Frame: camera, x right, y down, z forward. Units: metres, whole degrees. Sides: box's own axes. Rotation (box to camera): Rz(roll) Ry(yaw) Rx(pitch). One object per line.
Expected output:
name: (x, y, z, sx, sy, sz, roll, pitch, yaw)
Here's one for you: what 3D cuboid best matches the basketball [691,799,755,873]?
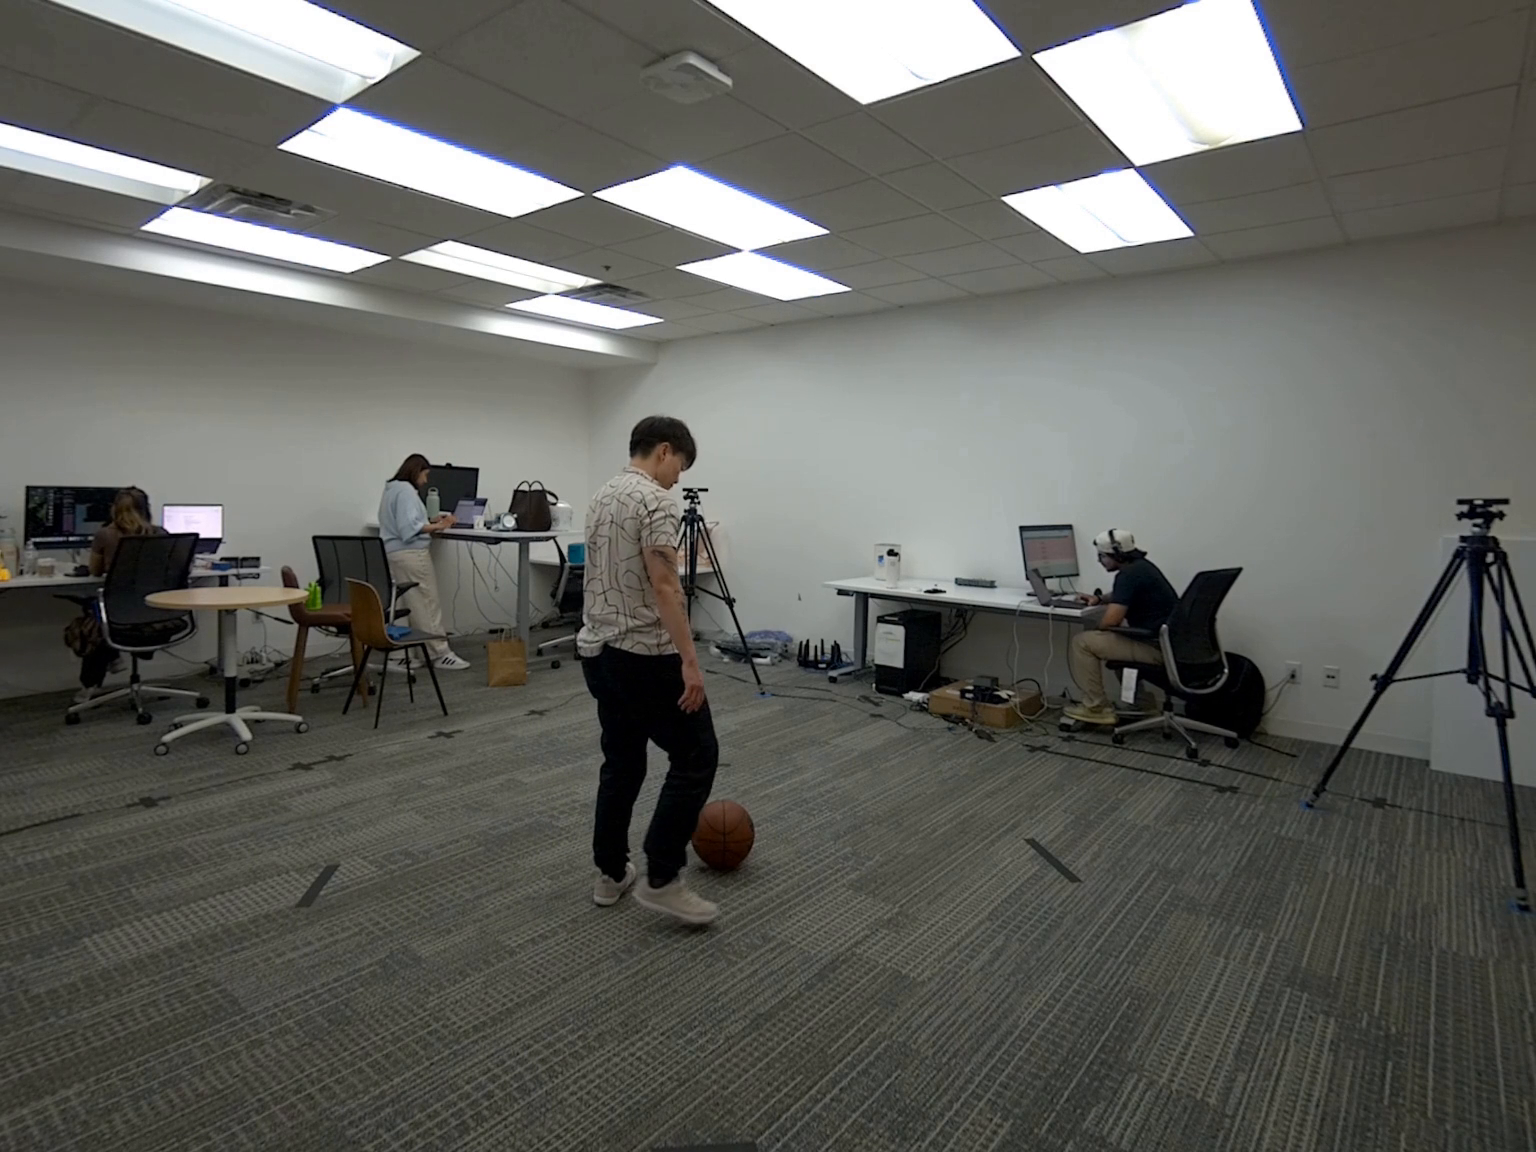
basketball: (-0.175, 0.942, 3.139, 0.235, 0.235, 0.237, 1, 4, -2)
